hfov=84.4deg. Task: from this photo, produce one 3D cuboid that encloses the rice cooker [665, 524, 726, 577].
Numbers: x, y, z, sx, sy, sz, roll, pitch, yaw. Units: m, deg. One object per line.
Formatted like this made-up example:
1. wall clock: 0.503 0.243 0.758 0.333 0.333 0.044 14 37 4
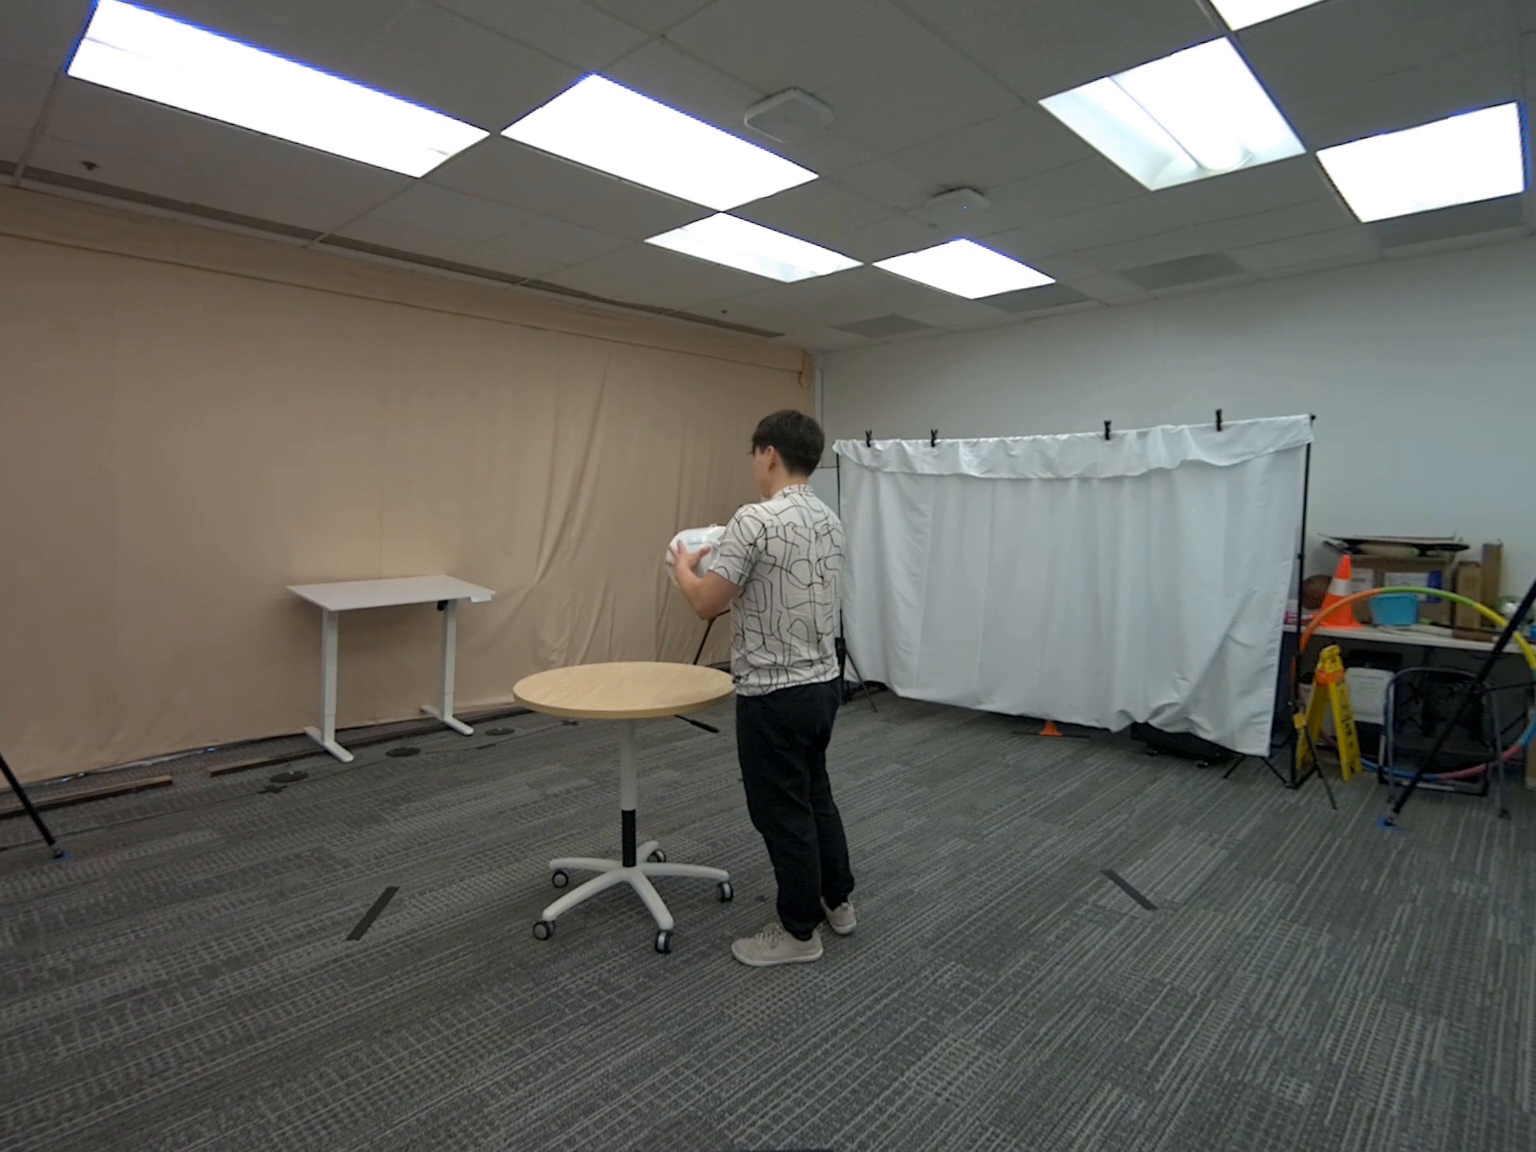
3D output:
1. rice cooker: -0.188 -0.052 2.761 0.240 0.217 0.214 -6 -46 45
